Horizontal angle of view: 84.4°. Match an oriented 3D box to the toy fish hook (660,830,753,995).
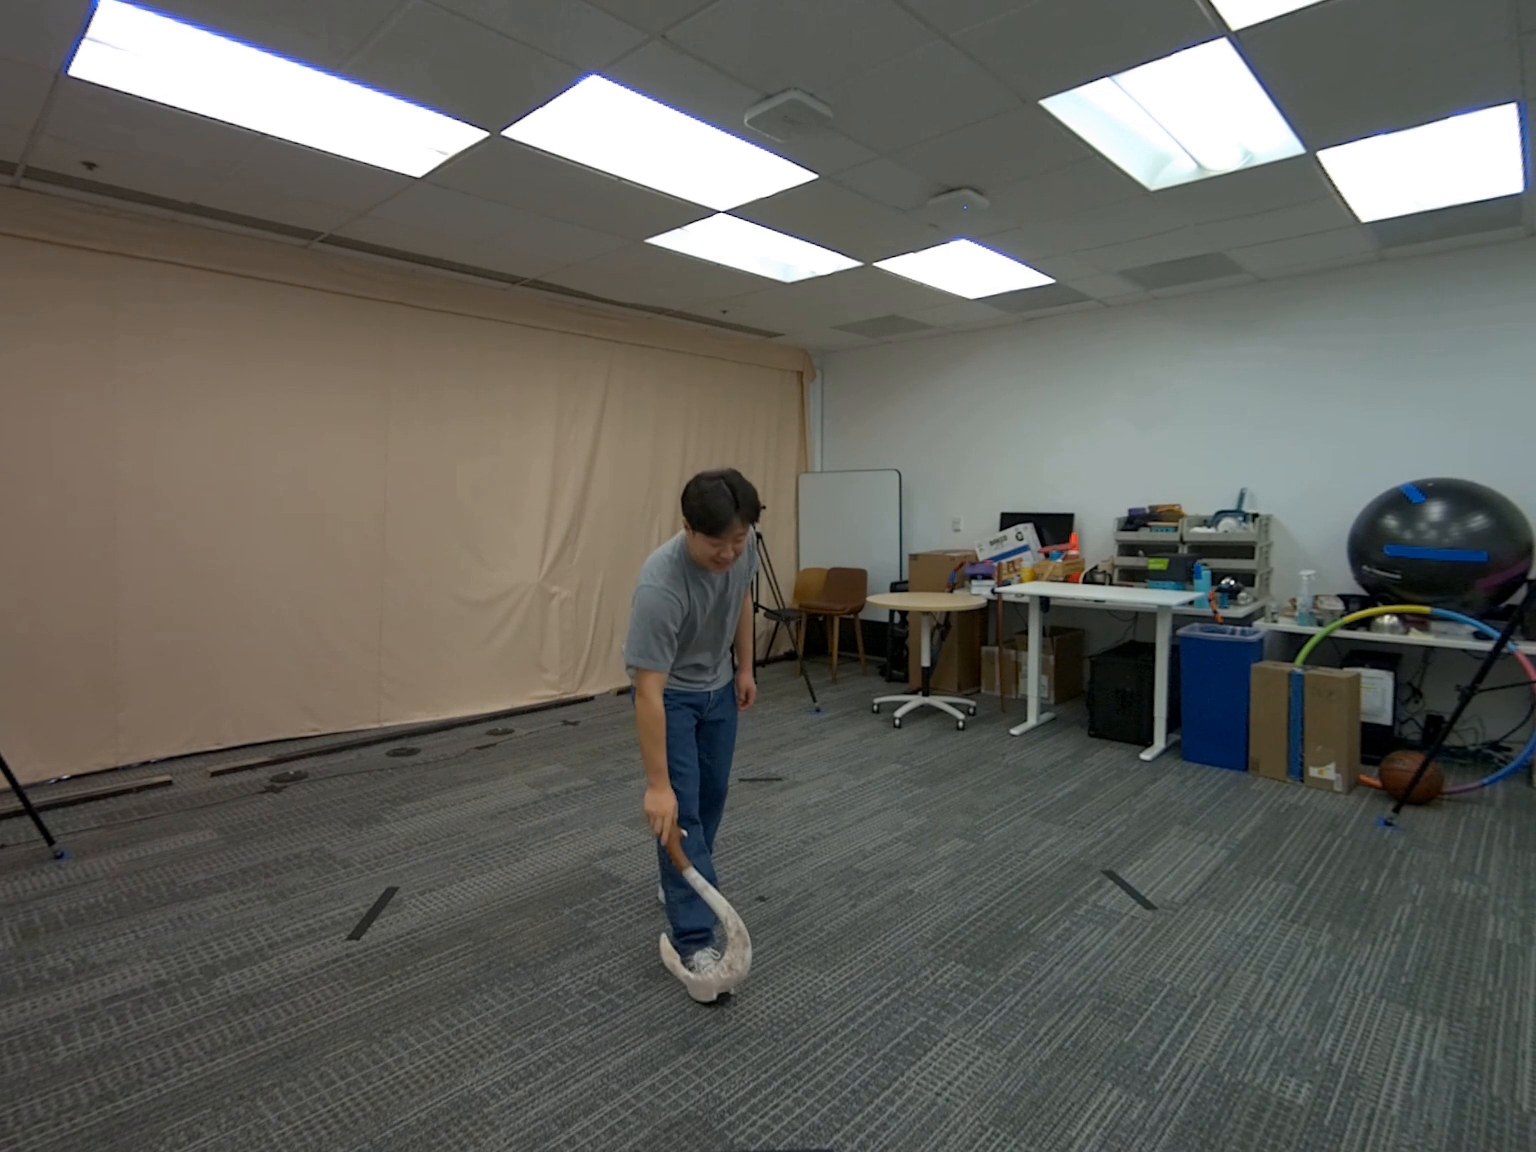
[{"bbox_3d":[-0.226,0.846,2.250,0.221,0.521,0.048,-22,-30,-21],"label":"toy fish hook"}]
